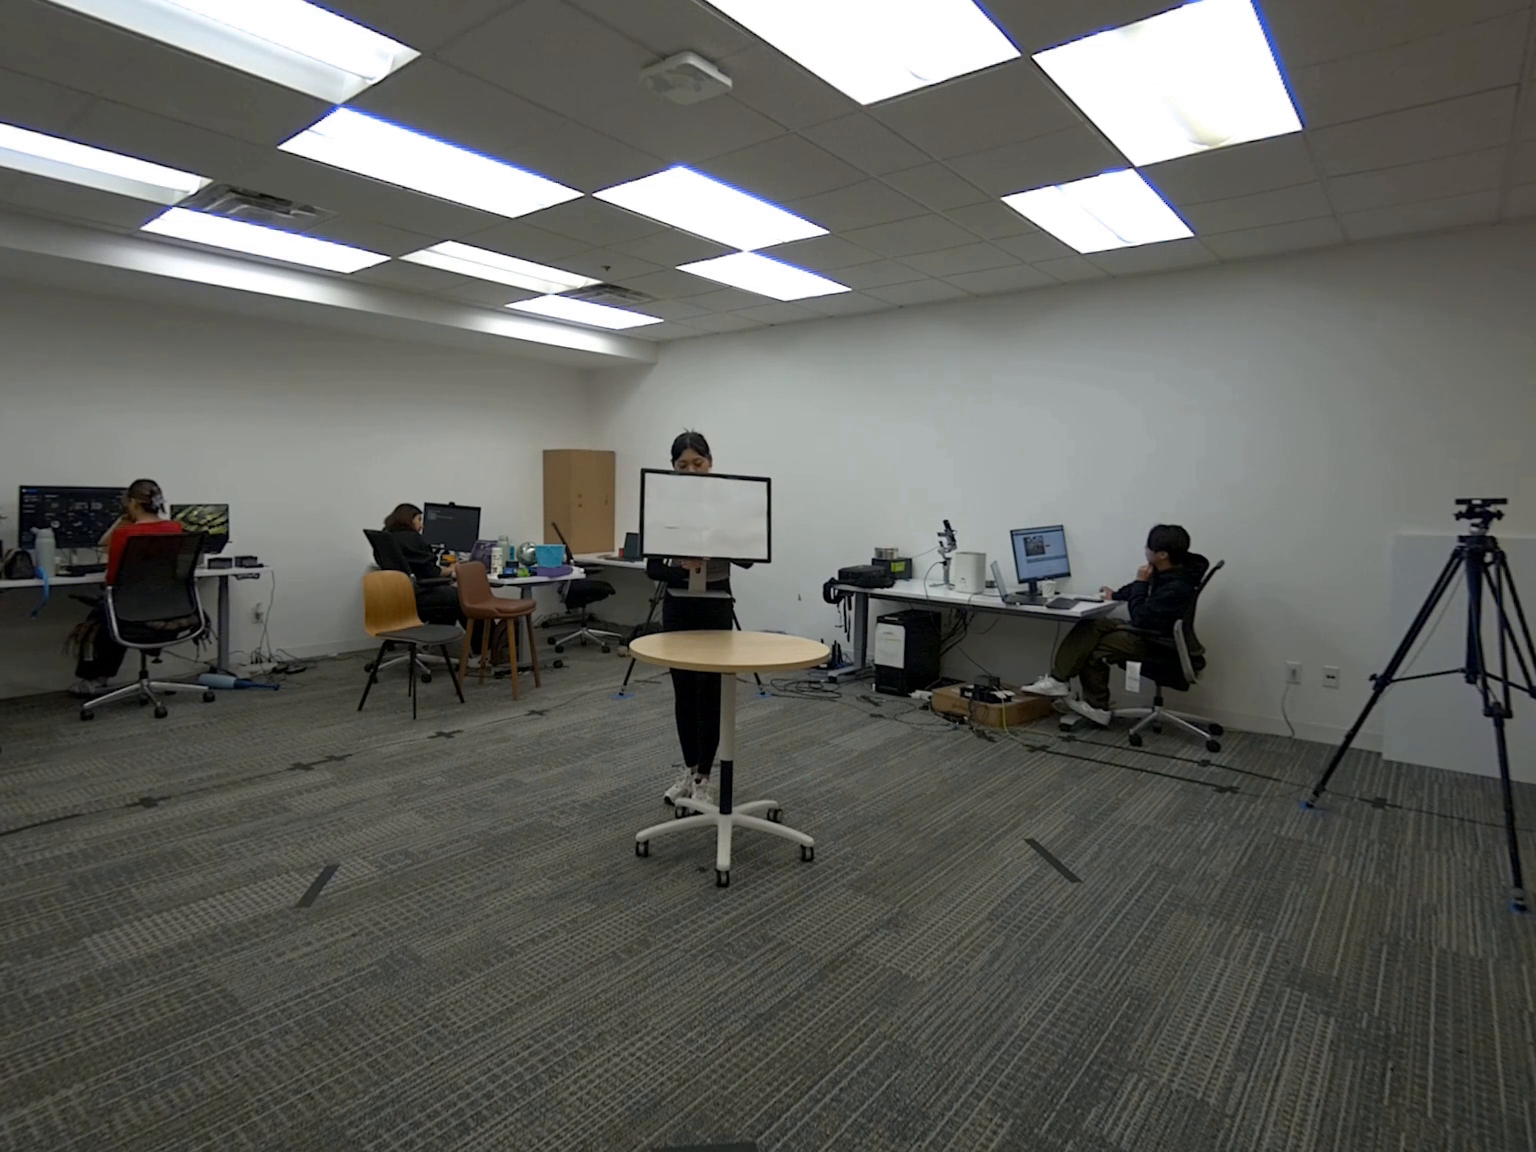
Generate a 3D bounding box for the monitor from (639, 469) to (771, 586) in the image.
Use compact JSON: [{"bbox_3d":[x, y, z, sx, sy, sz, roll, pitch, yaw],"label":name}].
[{"bbox_3d":[-0.283,-0.170,3.527,0.528,0.522,0.191,3,2,-19],"label":"monitor"}]
